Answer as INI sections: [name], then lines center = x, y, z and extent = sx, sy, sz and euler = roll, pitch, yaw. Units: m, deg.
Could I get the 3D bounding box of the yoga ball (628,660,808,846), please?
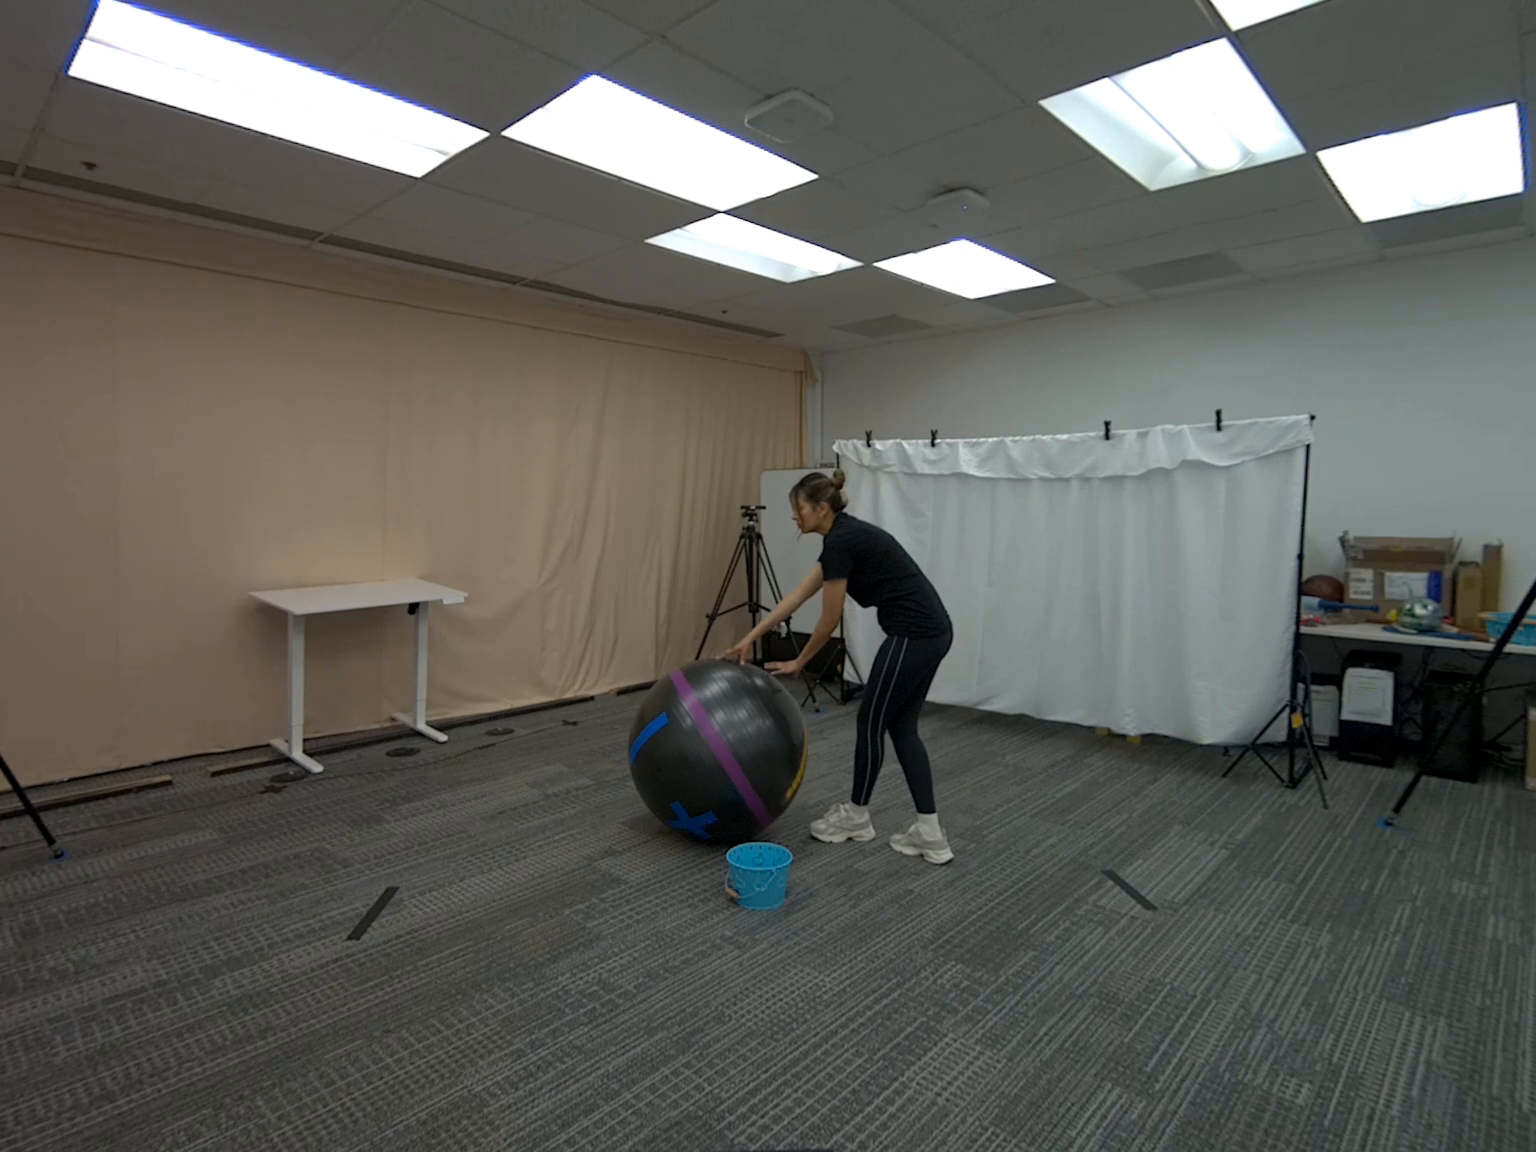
[yoga ball]
center = -0.213, 0.726, 3.568
extent = 0.757, 0.756, 0.760
euler = 0, 4, -2
